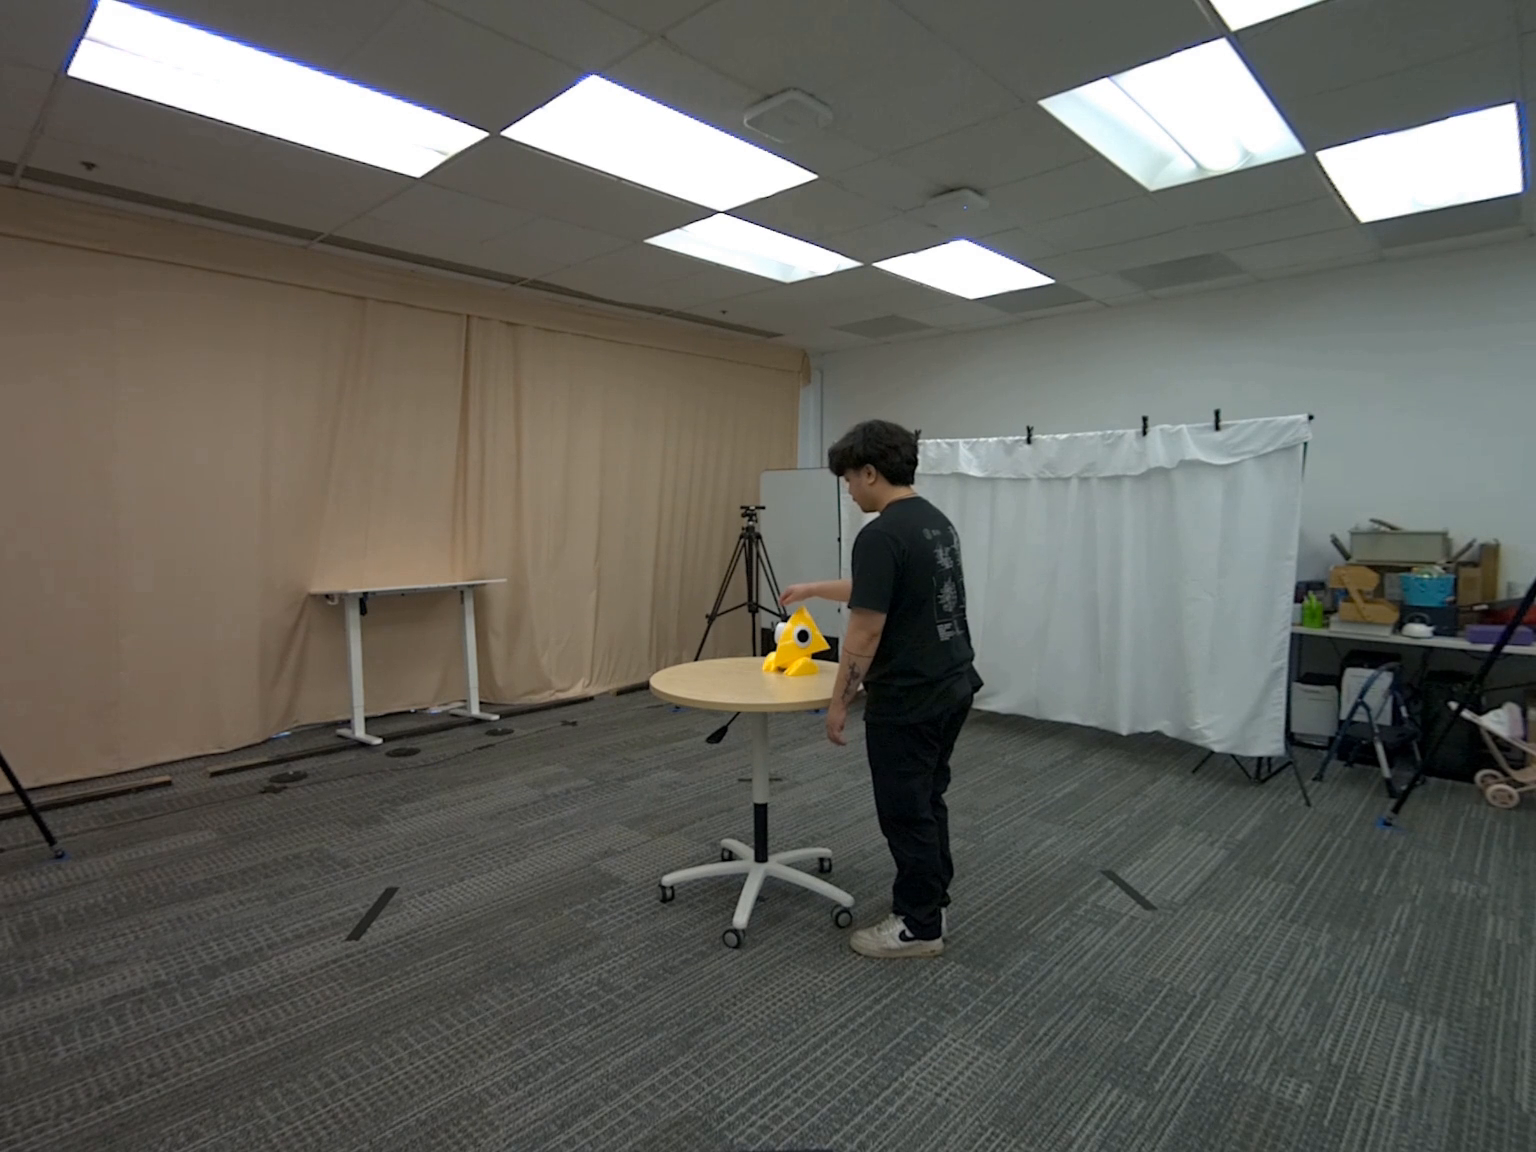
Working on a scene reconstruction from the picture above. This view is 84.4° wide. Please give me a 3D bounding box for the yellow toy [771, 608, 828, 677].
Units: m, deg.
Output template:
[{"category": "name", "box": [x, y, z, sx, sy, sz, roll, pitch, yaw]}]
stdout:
[{"category": "yellow toy", "box": [0.090, 0.227, 3.057, 0.187, 0.230, 0.211, -4, 5, -44]}]
